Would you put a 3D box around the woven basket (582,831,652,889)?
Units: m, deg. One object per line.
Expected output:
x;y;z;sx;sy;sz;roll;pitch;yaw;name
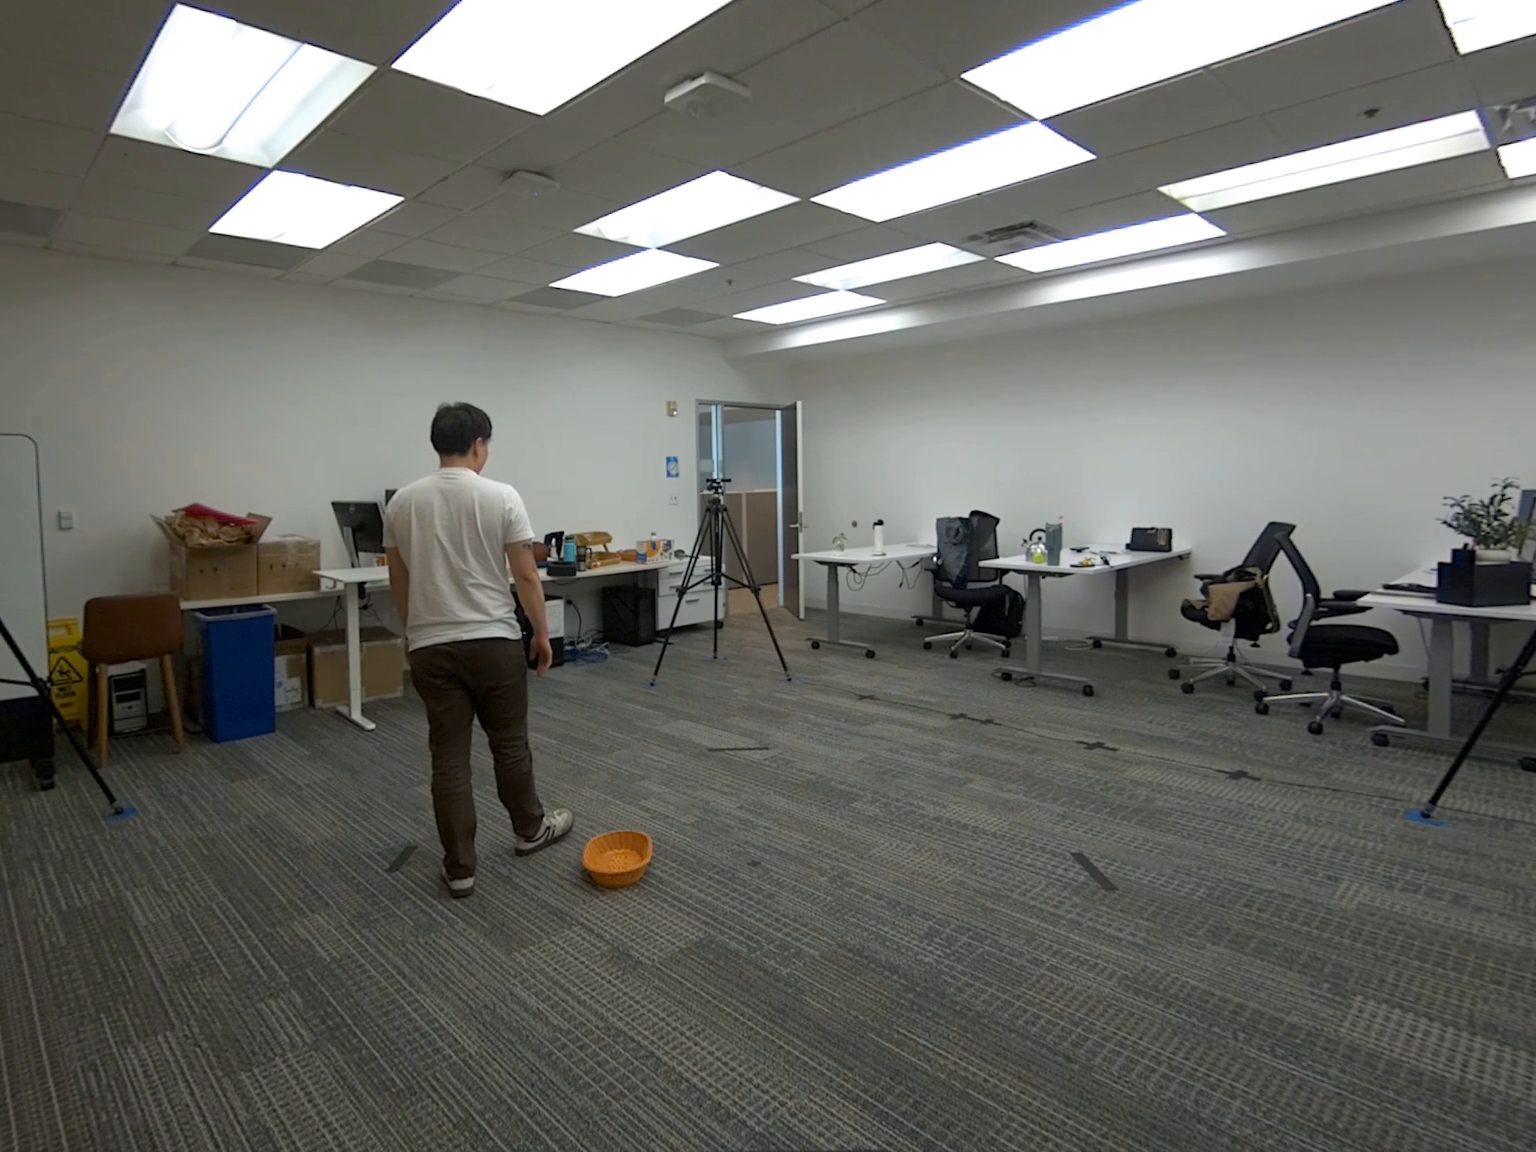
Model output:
-0.544;1.015;3.073;0.252;0.073;0.353;-2;7;-3;woven basket
